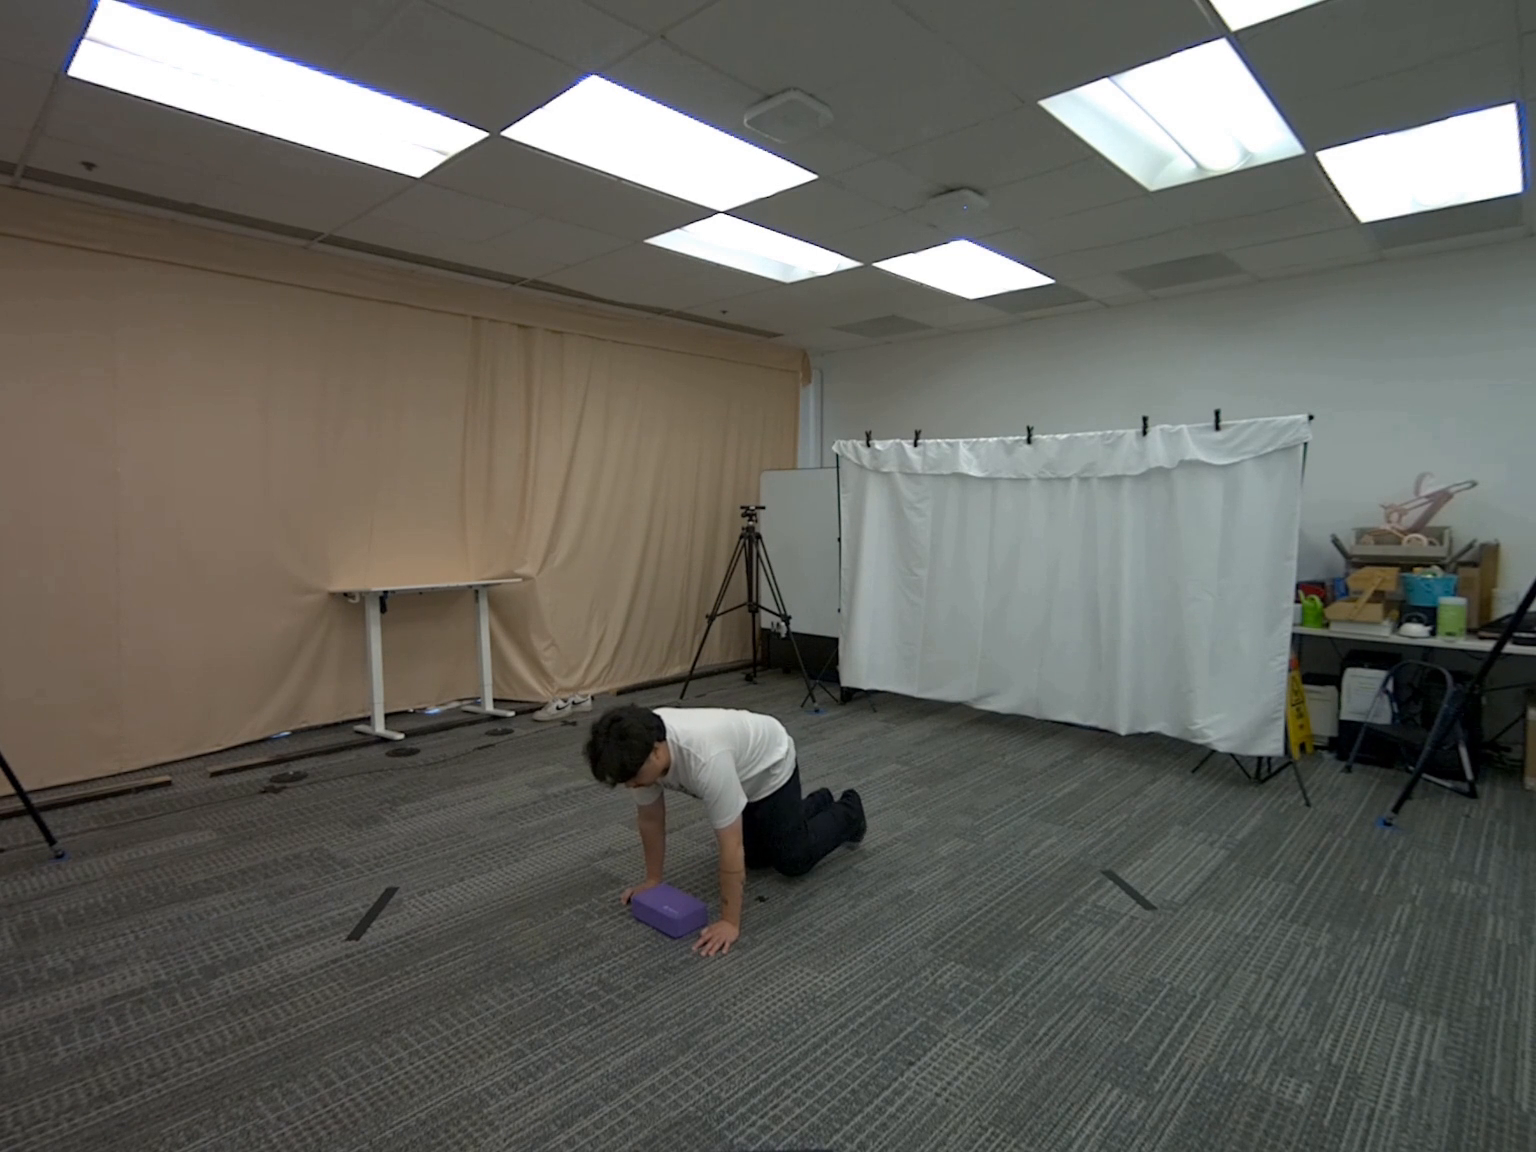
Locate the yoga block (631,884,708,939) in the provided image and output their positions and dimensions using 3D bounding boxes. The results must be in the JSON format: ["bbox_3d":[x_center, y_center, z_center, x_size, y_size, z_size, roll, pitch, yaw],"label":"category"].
[{"bbox_3d":[-0.327,1.117,2.829,0.237,0.076,0.144,3,5,42],"label":"yoga block"}]
